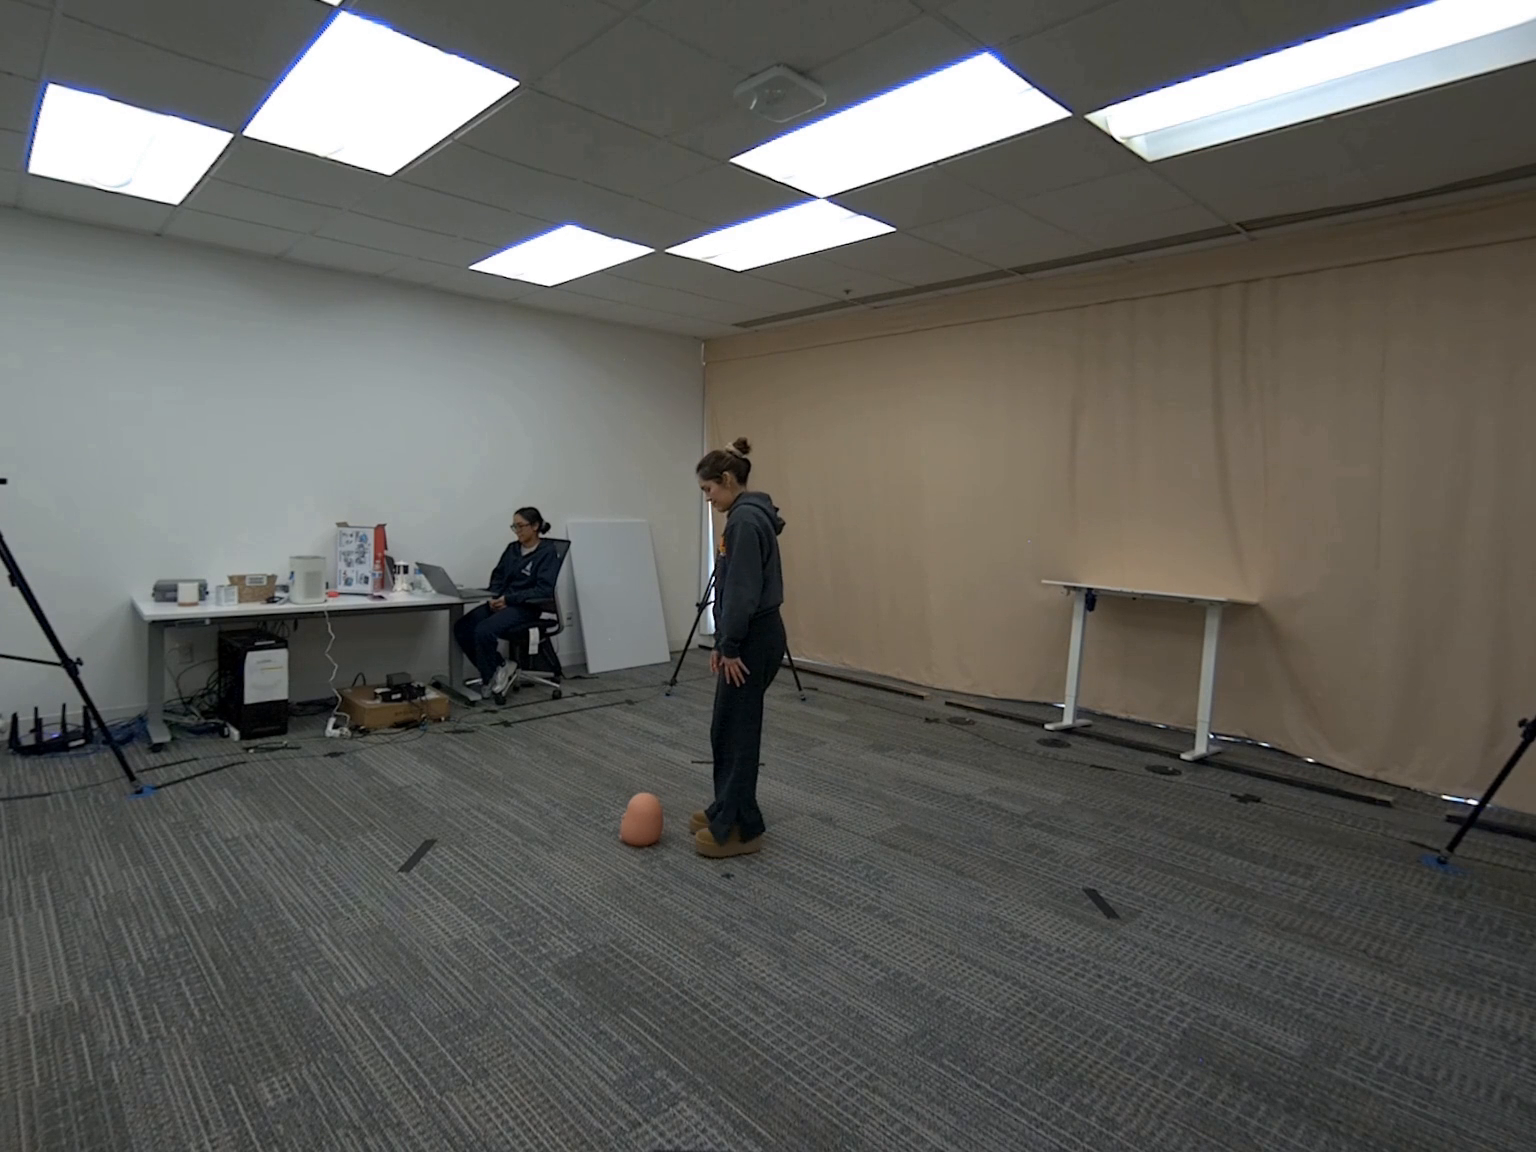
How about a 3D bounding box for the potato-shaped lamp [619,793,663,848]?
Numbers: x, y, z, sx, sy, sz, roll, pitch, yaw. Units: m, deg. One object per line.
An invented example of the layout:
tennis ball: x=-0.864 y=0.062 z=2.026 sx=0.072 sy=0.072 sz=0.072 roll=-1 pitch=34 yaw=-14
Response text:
potato-shaped lamp: x=-0.510 y=0.965 z=3.402 sx=0.176 sy=0.197 sz=0.161 roll=6 pitch=6 yaw=39
